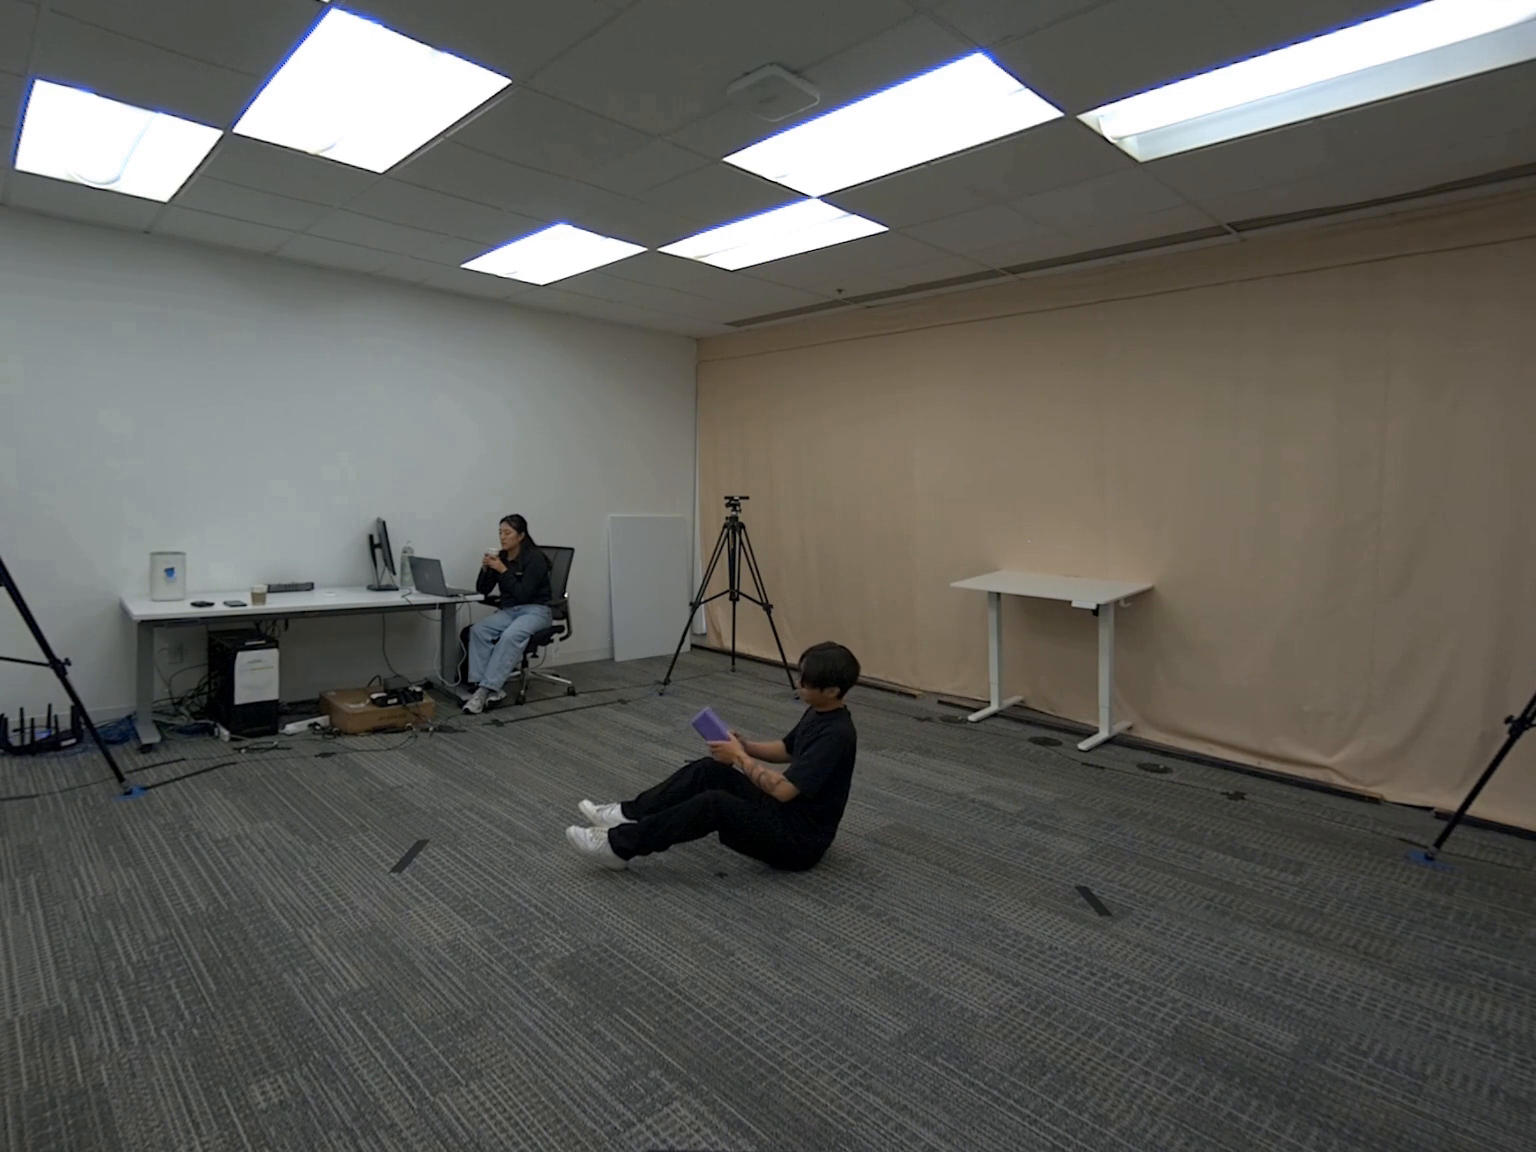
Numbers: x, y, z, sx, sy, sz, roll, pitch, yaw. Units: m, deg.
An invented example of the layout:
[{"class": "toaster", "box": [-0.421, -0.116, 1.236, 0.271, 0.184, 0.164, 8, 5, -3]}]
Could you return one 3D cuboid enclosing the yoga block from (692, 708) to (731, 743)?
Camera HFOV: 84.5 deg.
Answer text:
[{"class": "yoga block", "box": [-0.193, 0.625, 3.315, 0.076, 0.230, 0.149, -43, -1, 0]}]
